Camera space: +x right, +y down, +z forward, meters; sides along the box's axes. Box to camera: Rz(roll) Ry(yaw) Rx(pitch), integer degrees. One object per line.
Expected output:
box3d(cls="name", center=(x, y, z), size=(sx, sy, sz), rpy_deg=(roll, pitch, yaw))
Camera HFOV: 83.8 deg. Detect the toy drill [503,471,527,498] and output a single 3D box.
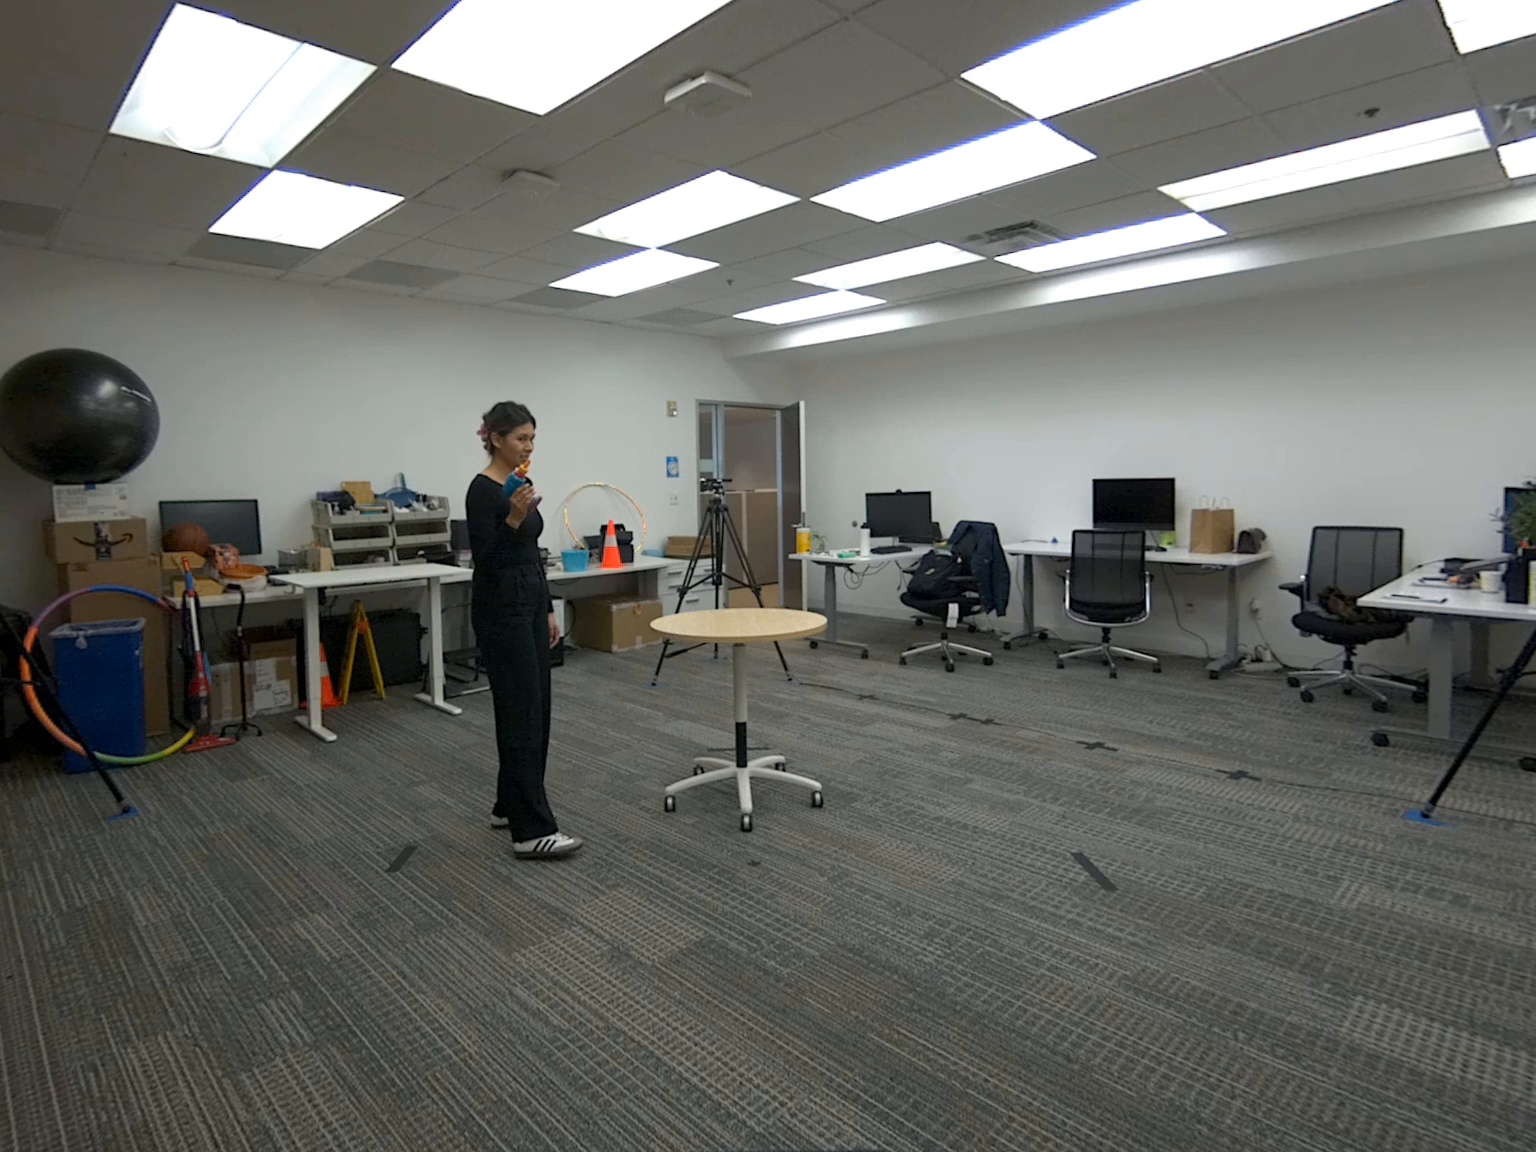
box3d(cls="toy drill", center=(-0.860, -0.330, 3.068), size=(0.146, 0.169, 0.061), rpy_deg=(38, 13, -1))
